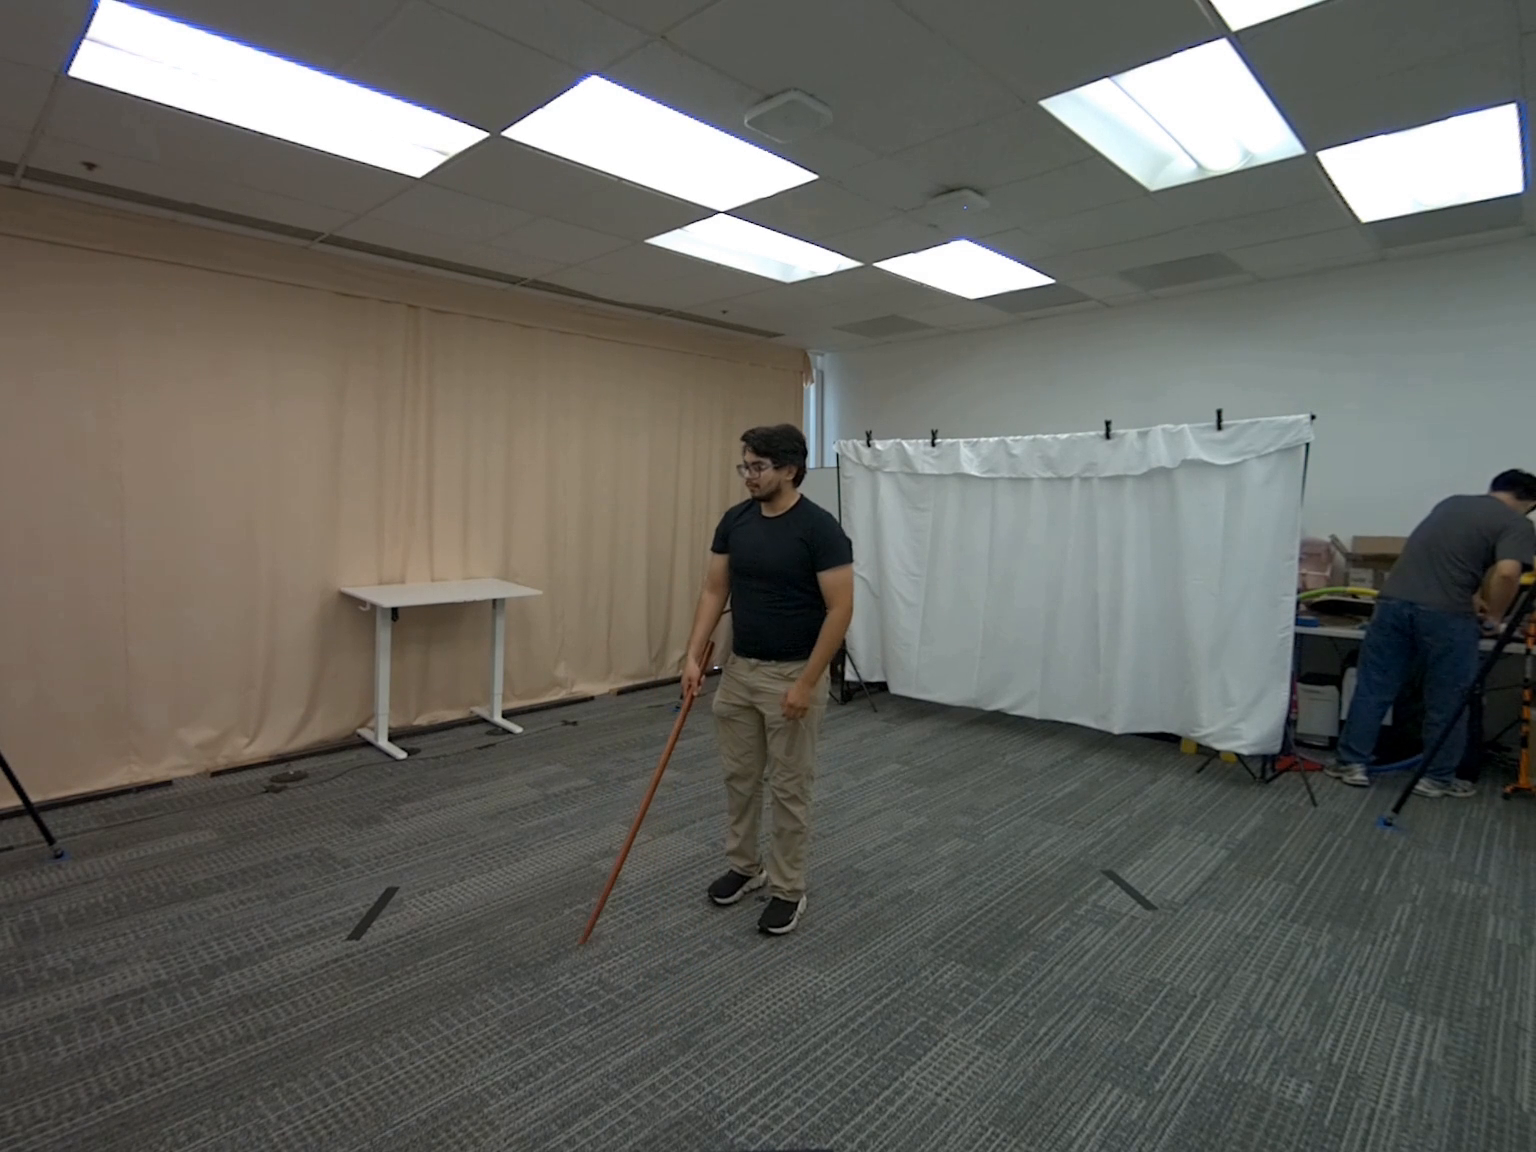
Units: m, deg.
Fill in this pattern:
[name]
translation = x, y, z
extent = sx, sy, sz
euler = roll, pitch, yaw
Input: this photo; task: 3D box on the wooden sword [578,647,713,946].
[wooden sword]
translation = -0.338, 0.665, 2.610
extent = 0.052, 1.027, 0.023
euler = 15, -37, 14
